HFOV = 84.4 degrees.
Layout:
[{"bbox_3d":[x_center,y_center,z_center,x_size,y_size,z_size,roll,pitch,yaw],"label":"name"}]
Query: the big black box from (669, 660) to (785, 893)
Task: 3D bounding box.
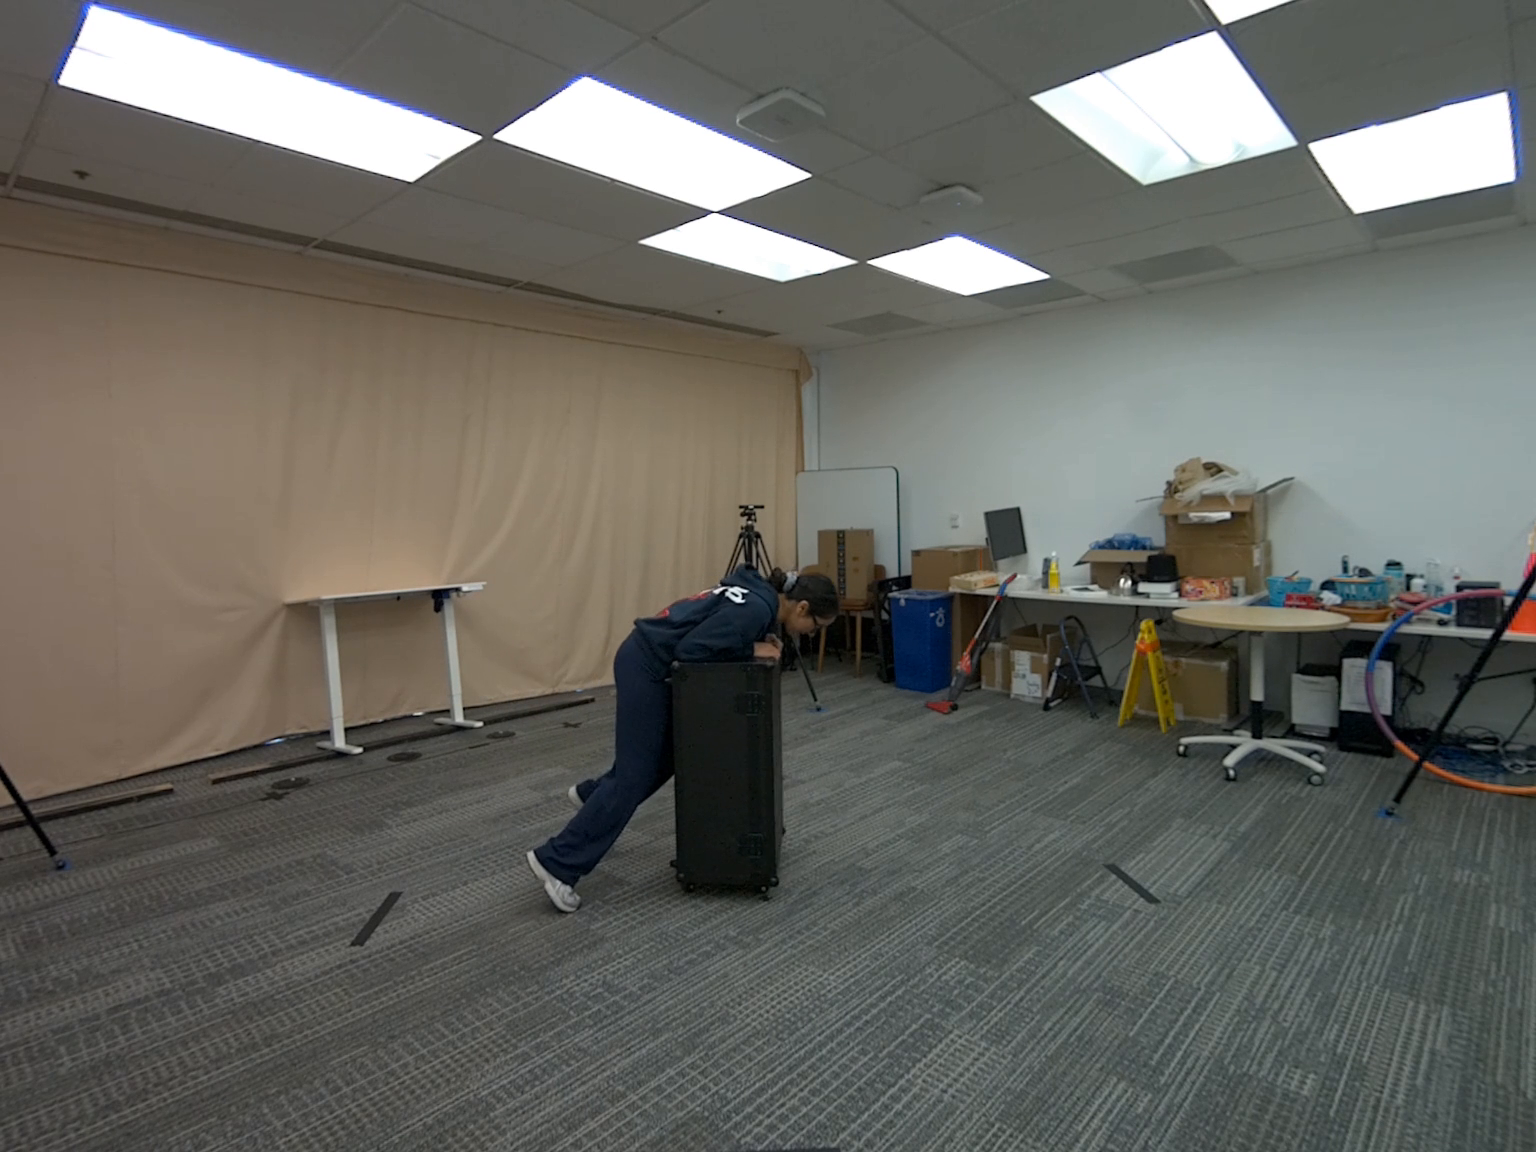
[{"bbox_3d":[-0.146,0.709,3.156,0.399,0.859,0.519,-2,3,6],"label":"big black box"}]
